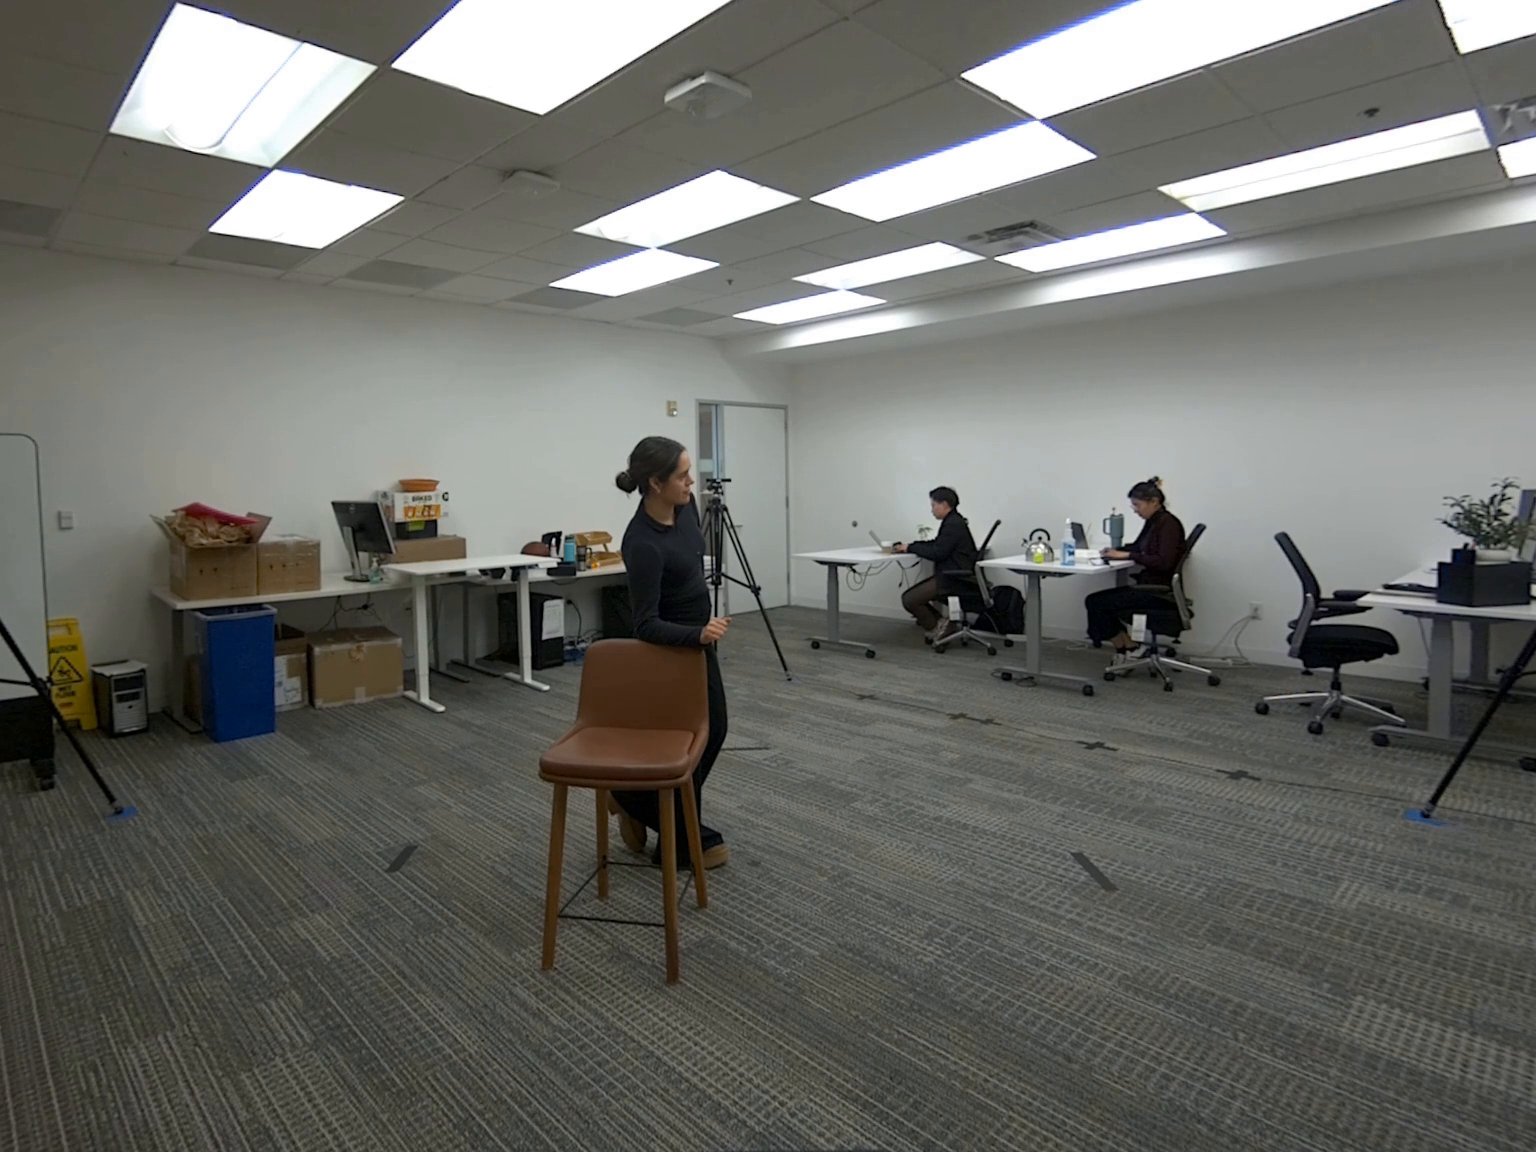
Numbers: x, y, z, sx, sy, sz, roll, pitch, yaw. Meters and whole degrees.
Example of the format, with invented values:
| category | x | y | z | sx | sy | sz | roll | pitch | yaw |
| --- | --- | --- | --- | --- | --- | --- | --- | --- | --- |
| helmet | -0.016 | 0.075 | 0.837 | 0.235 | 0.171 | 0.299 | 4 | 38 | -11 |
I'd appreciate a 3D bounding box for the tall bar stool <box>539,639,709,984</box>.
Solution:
| category | x | y | z | sx | sy | sz | roll | pitch | yaw |
| --- | --- | --- | --- | --- | --- | --- | --- | --- | --- |
| tall bar stool | -0.425 | 0.677 | 2.607 | 0.462 | 0.888 | 0.463 | 0 | 3 | 12 |
